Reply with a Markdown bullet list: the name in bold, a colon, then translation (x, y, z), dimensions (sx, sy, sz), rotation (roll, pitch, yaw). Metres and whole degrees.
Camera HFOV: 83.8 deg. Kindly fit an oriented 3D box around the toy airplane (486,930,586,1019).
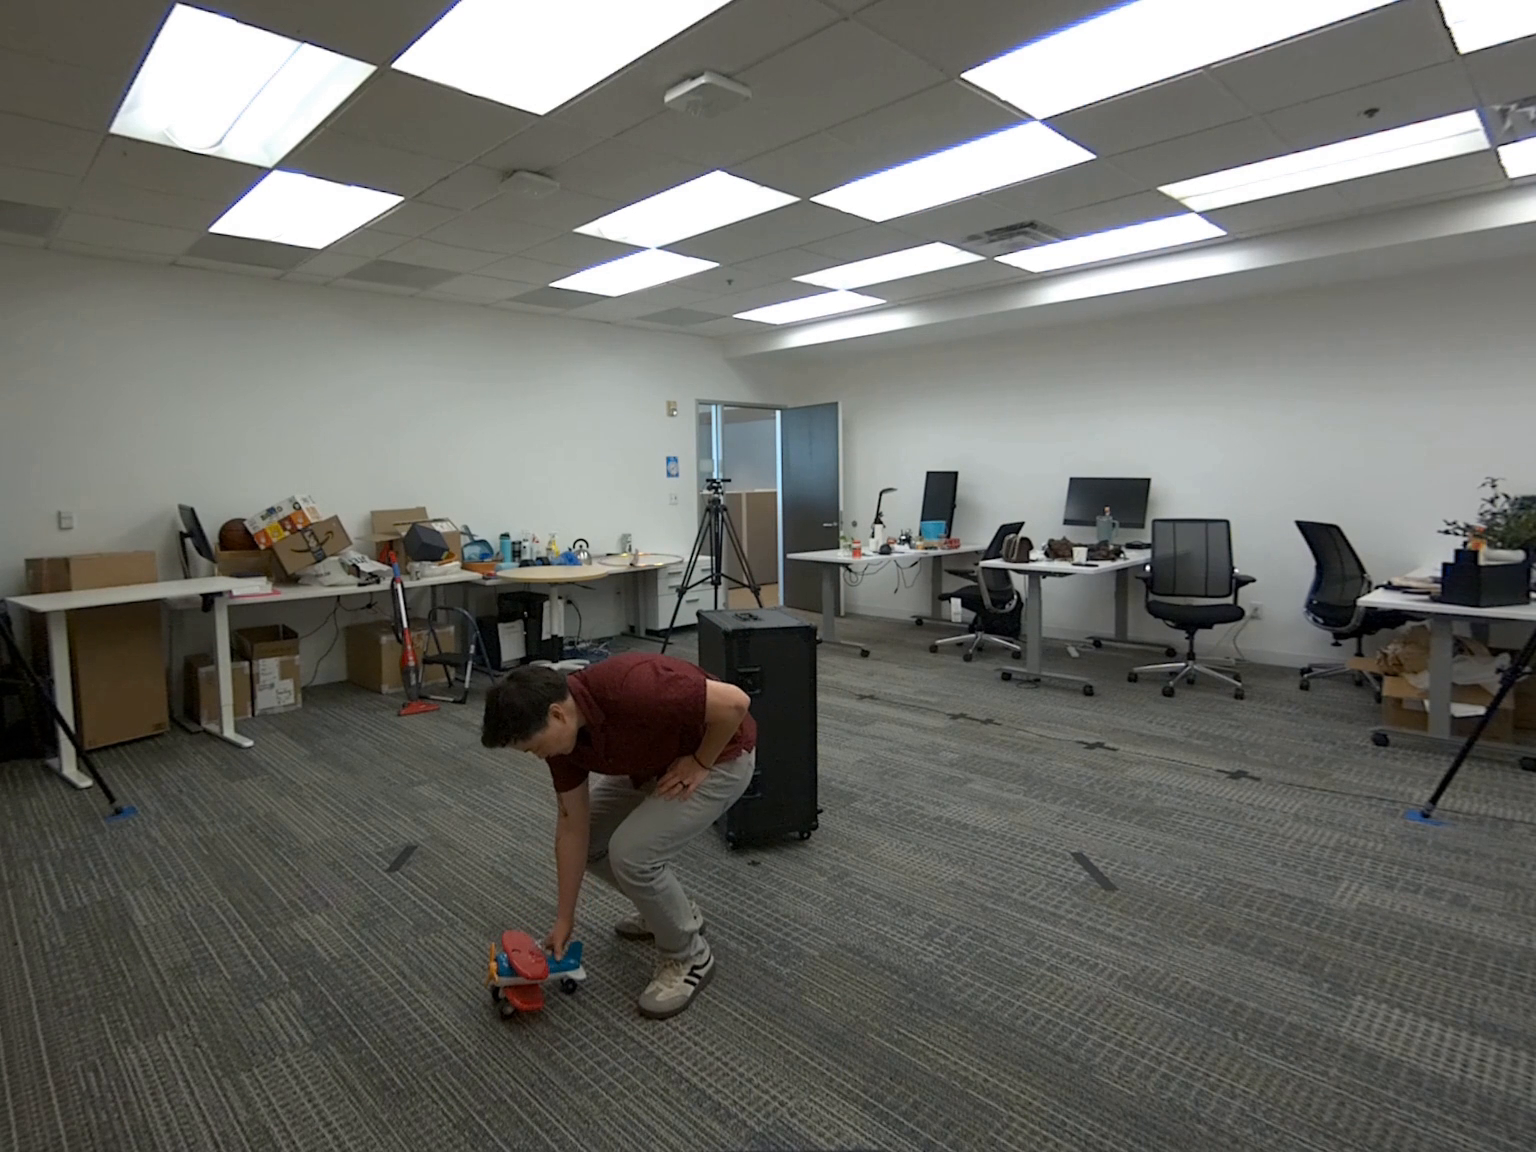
- **toy airplane**: translation (-0.634, 1.083, 2.318), dimensions (0.258, 0.156, 0.253), rotation (2, 7, 35)
